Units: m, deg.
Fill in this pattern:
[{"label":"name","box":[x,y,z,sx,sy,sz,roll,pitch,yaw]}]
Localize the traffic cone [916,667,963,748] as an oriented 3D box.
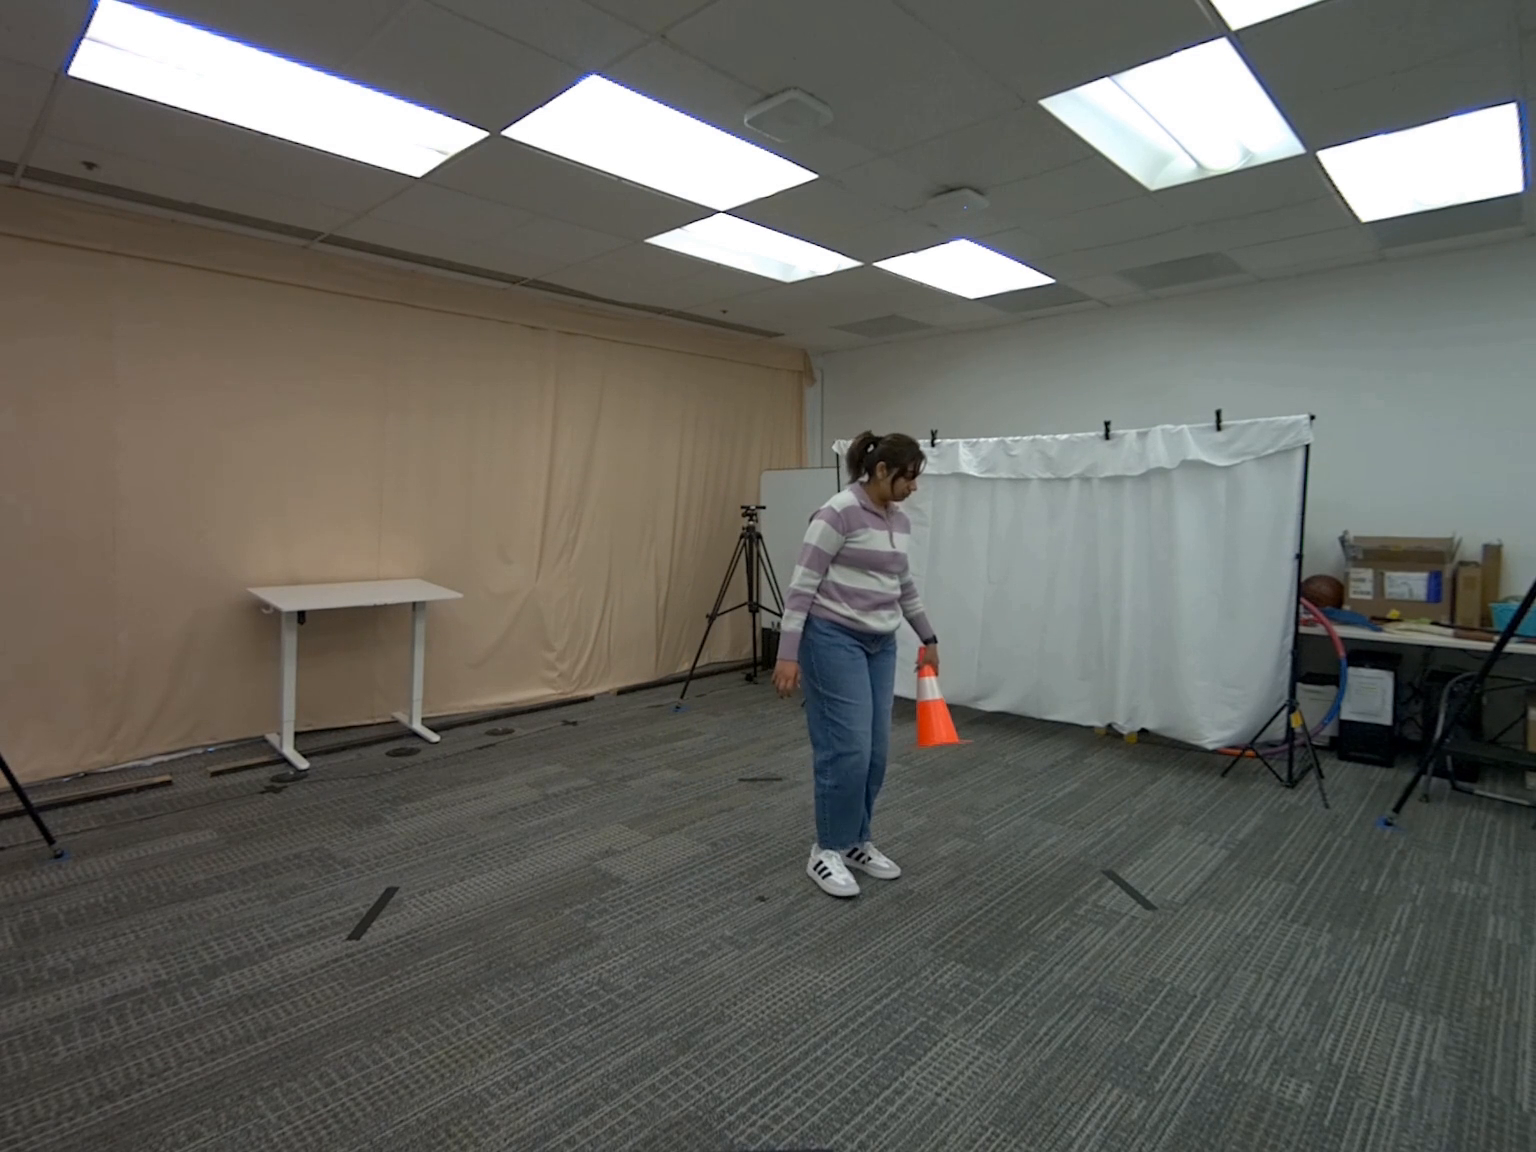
[{"label":"traffic cone","box":[0.631,0.476,3.297,0.199,0.388,0.207,1,-17,-30]}]
